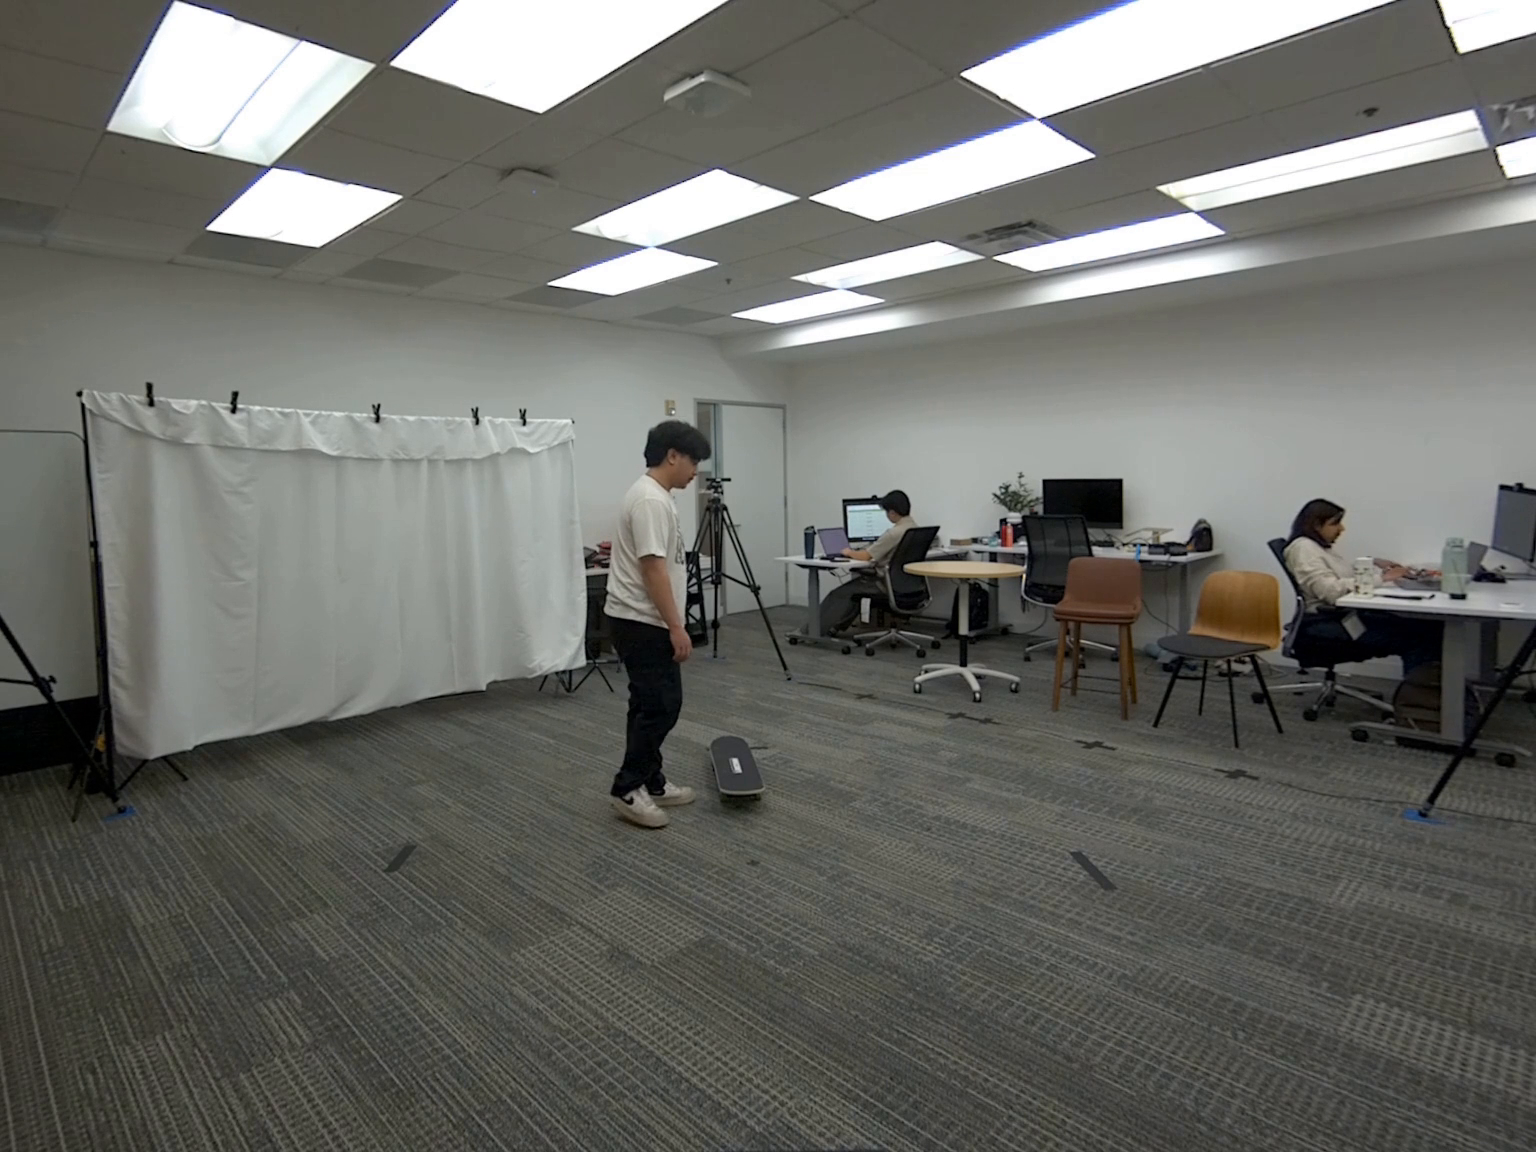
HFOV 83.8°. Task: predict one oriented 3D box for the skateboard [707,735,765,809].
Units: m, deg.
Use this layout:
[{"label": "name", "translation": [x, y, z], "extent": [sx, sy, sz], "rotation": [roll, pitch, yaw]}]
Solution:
[{"label": "skateboard", "translation": [-0.145, 0.897, 3.909], "extent": [0.192, 0.110, 0.794], "rotation": [-2, 6, -8]}]
